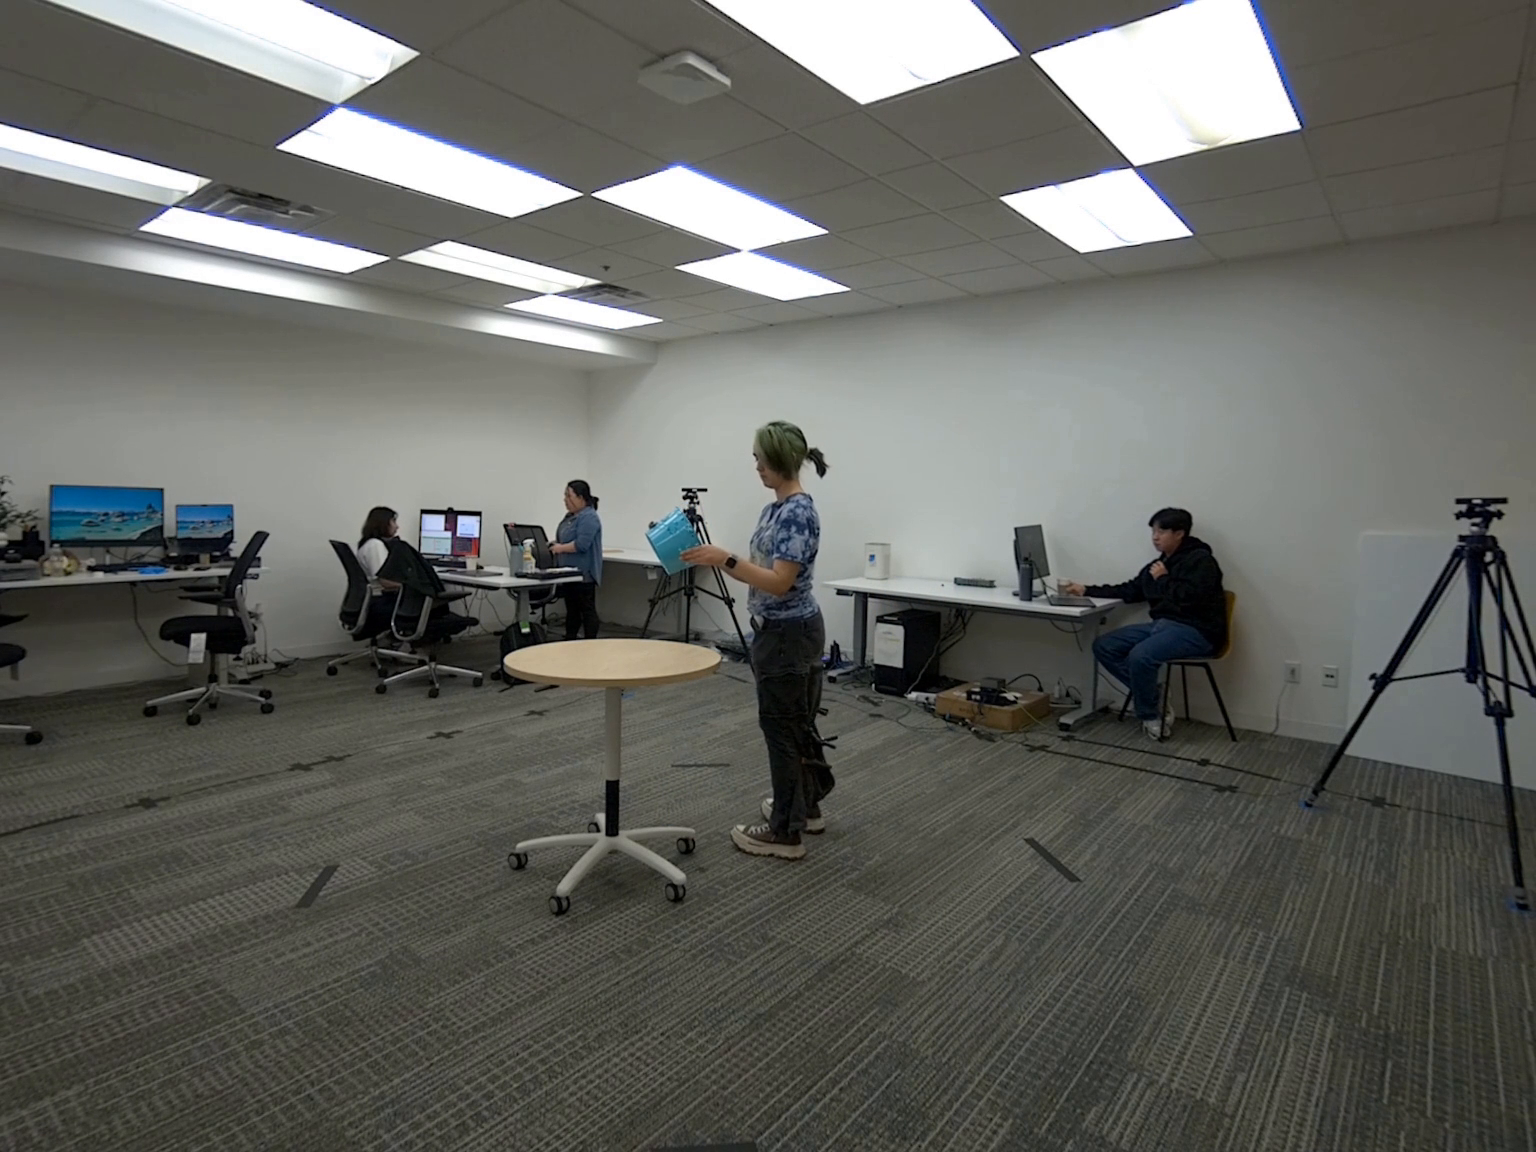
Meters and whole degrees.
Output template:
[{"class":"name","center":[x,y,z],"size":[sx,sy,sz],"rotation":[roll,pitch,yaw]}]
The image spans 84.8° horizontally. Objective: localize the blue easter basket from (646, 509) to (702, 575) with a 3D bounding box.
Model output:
[{"class":"blue easter basket","center":[-0.361,-0.131,3.188],"size":[0.155,0.241,0.247],"rotation":[-28,9,-9]}]
